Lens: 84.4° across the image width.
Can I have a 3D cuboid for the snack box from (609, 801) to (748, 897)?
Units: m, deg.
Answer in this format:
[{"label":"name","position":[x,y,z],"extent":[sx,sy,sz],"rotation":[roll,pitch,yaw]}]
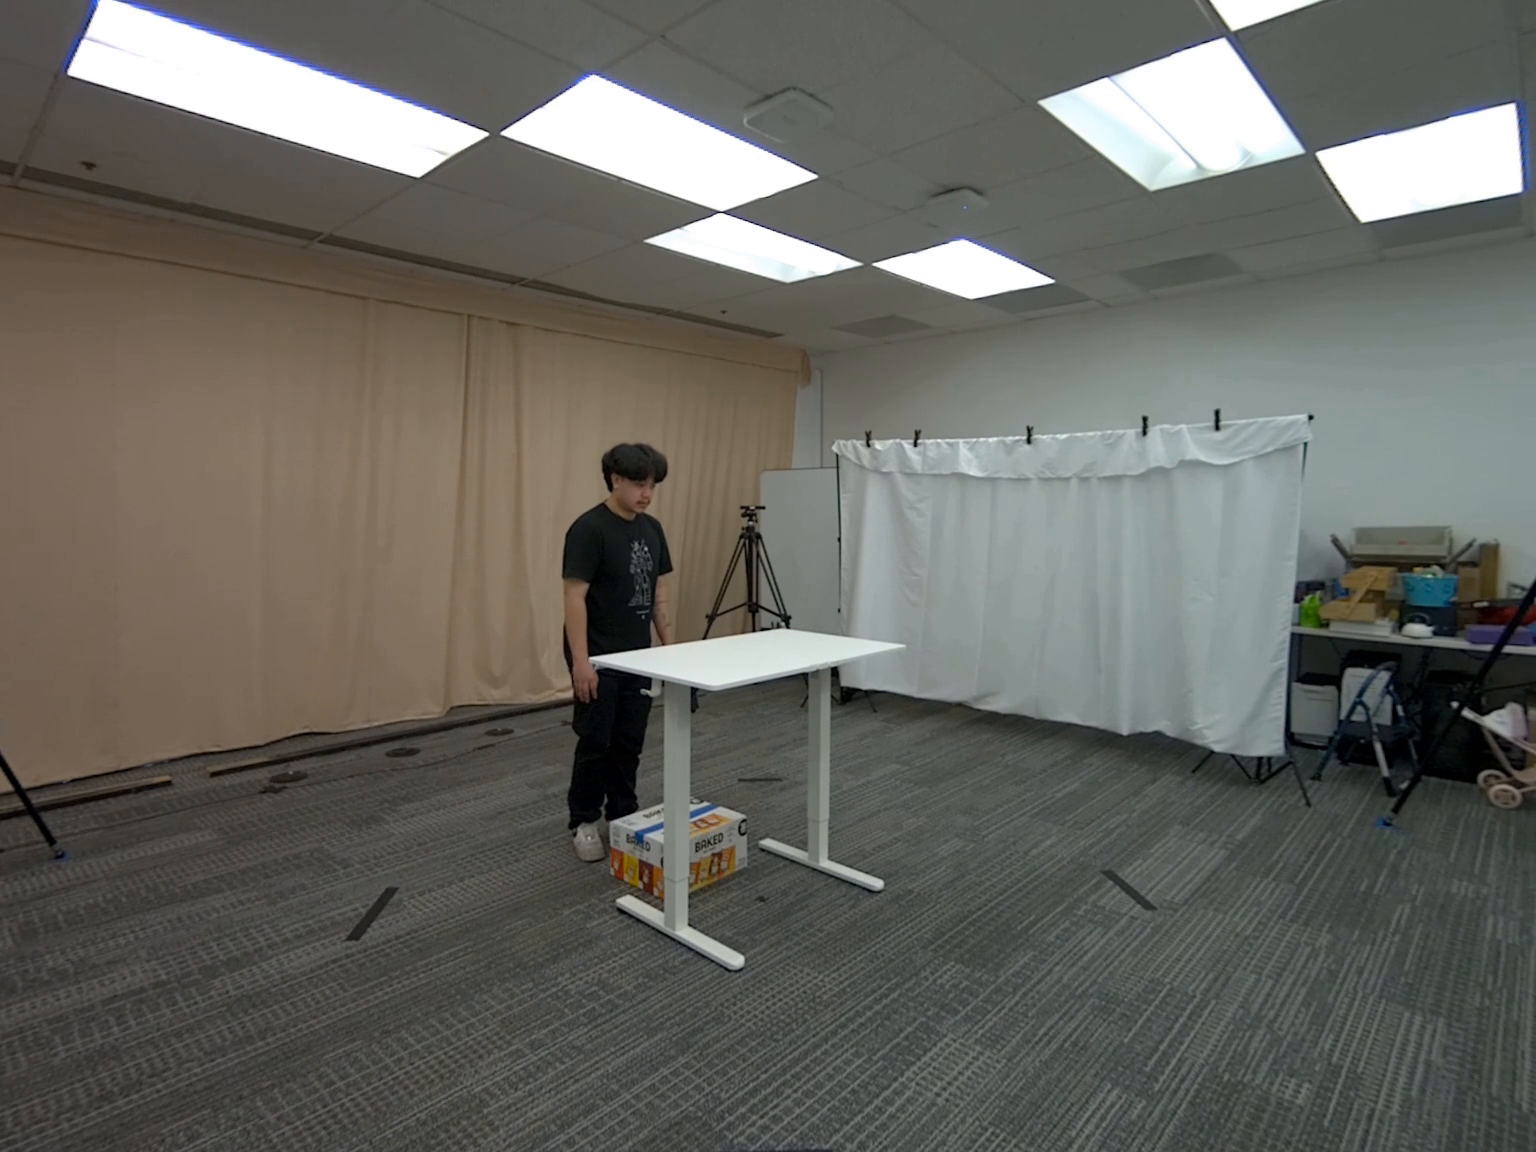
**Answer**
[{"label":"snack box","position":[-0.339,1.028,3.209],"extent":[0.352,0.205,0.393],"rotation":[4,6,43]}]
